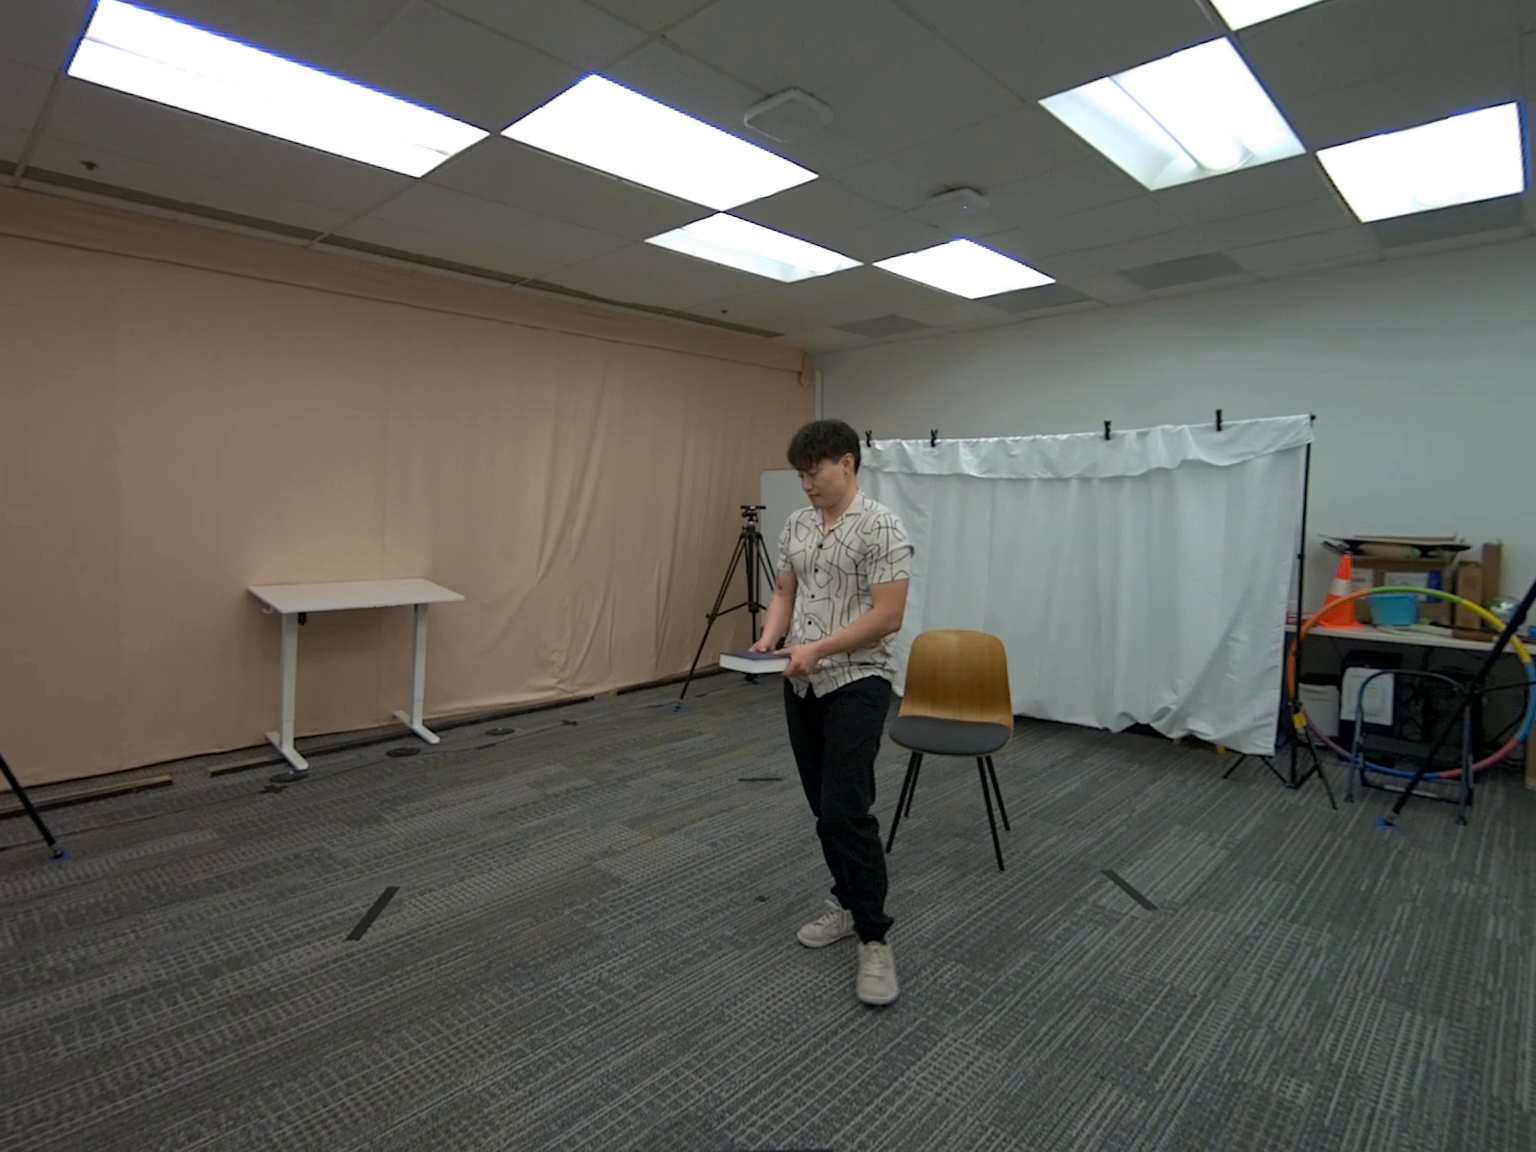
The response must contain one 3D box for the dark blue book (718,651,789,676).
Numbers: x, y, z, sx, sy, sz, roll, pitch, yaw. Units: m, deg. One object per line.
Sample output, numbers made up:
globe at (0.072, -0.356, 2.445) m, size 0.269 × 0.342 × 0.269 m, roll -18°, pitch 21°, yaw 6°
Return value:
dark blue book at (-0.008, 0.257, 2.512) m, size 0.238 × 0.045 × 0.168 m, roll 3°, pitch 0°, yaw -33°
